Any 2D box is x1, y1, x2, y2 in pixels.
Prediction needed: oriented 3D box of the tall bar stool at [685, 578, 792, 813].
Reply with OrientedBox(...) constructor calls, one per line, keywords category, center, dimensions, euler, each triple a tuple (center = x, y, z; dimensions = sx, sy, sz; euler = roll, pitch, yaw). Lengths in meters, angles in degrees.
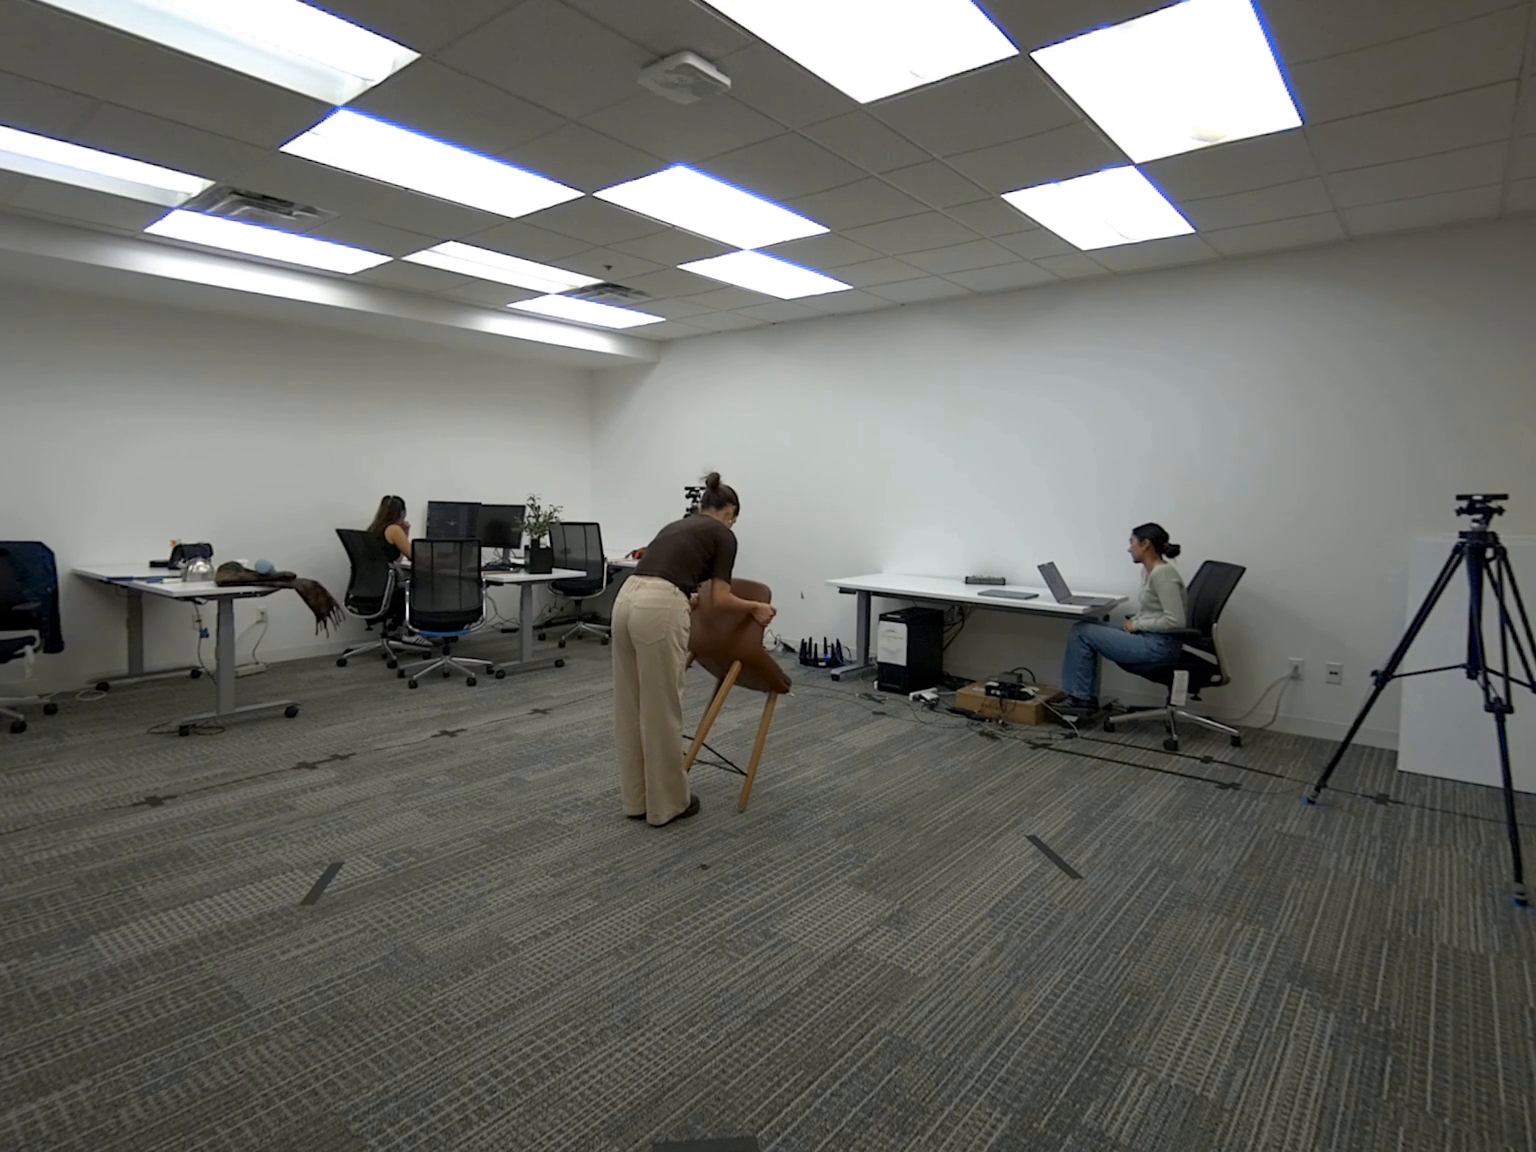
OrientedBox(category="tall bar stool", center=(-0.211, 0.504, 3.827), dimensions=(0.471, 0.898, 0.448), euler=(3, -29, 39))
